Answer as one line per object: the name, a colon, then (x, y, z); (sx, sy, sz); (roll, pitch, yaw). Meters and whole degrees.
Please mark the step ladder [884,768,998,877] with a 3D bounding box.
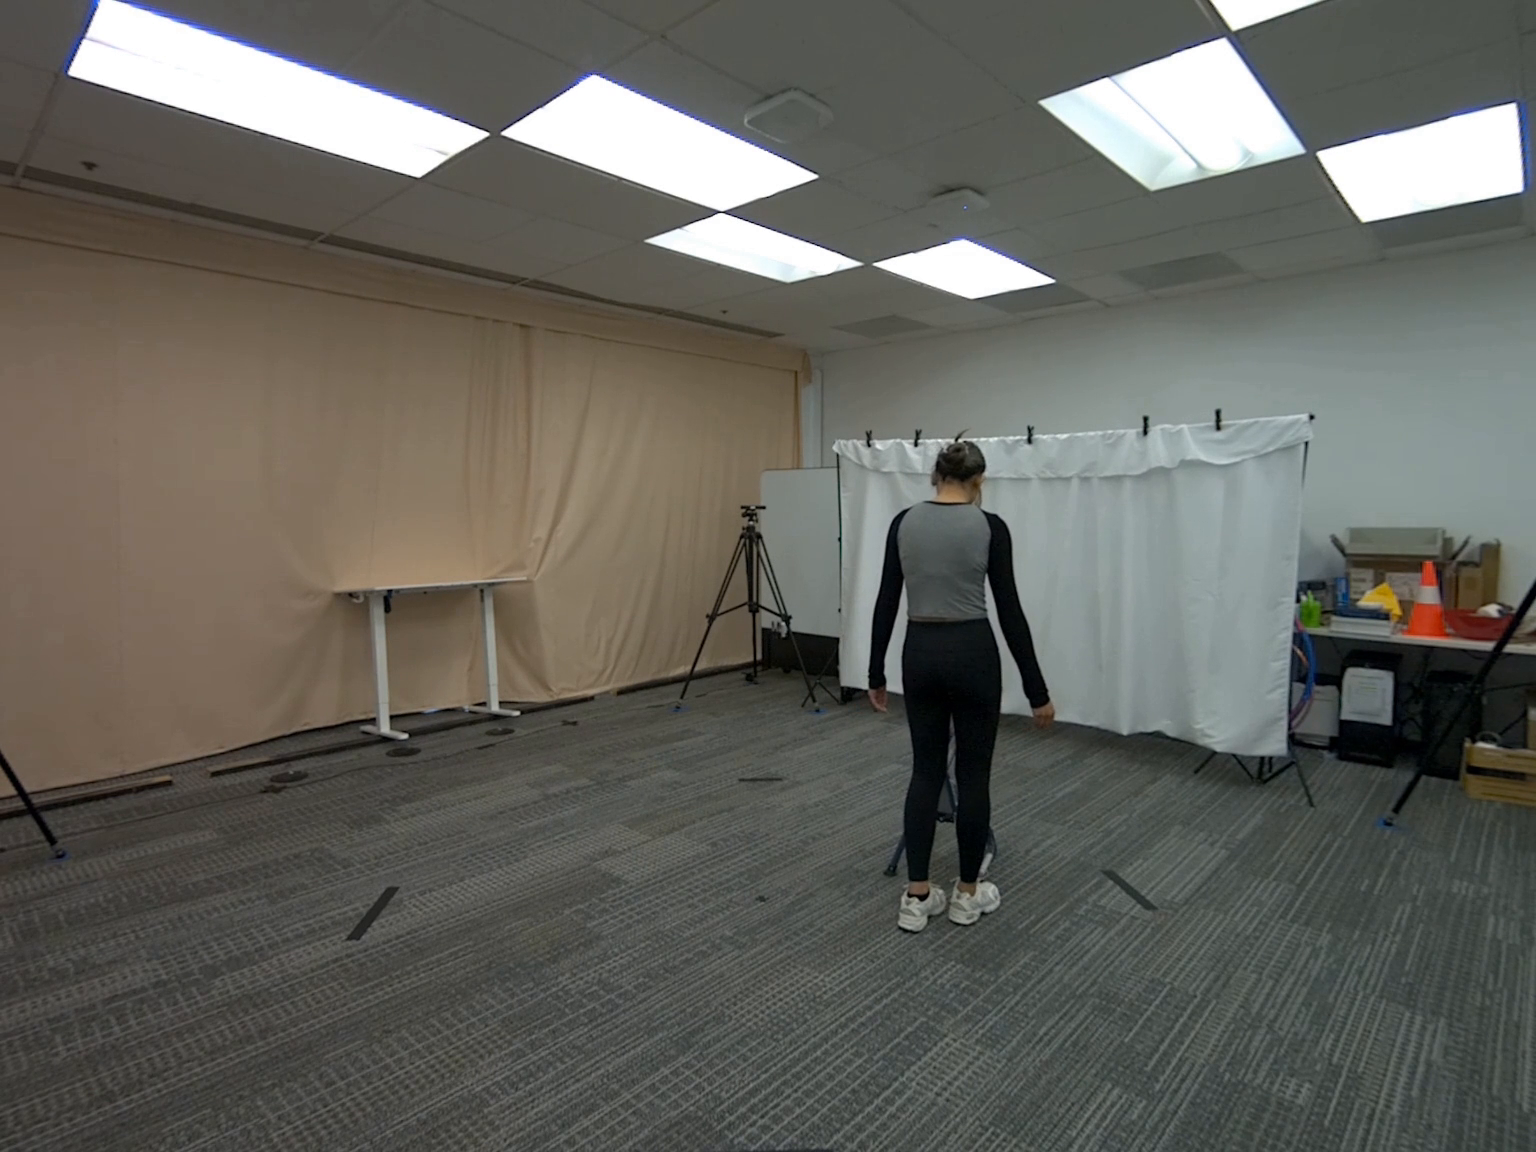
step ladder: (0.689, 0.815, 3.269); (0.358, 0.605, 0.421); (2, 4, 24)
